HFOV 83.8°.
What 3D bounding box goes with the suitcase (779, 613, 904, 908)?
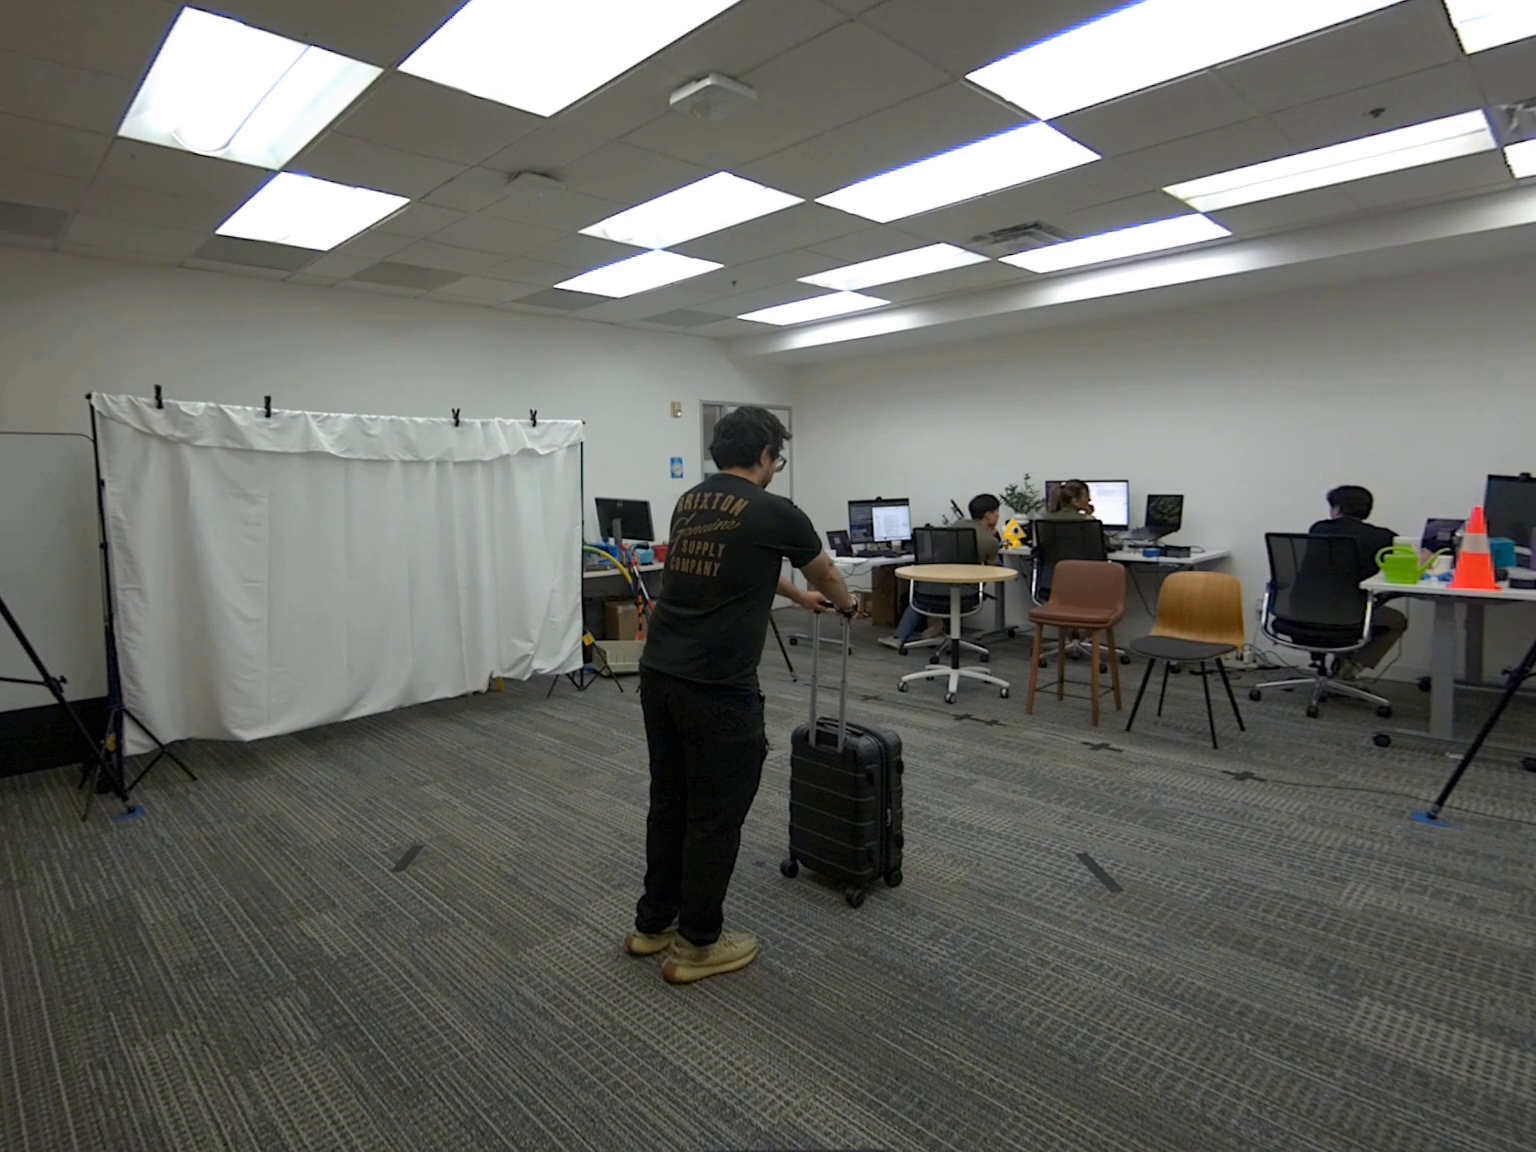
[{"bbox_3d":[0.278,0.582,2.974,0.249,0.978,0.396,2,1,-43],"label":"suitcase"}]
